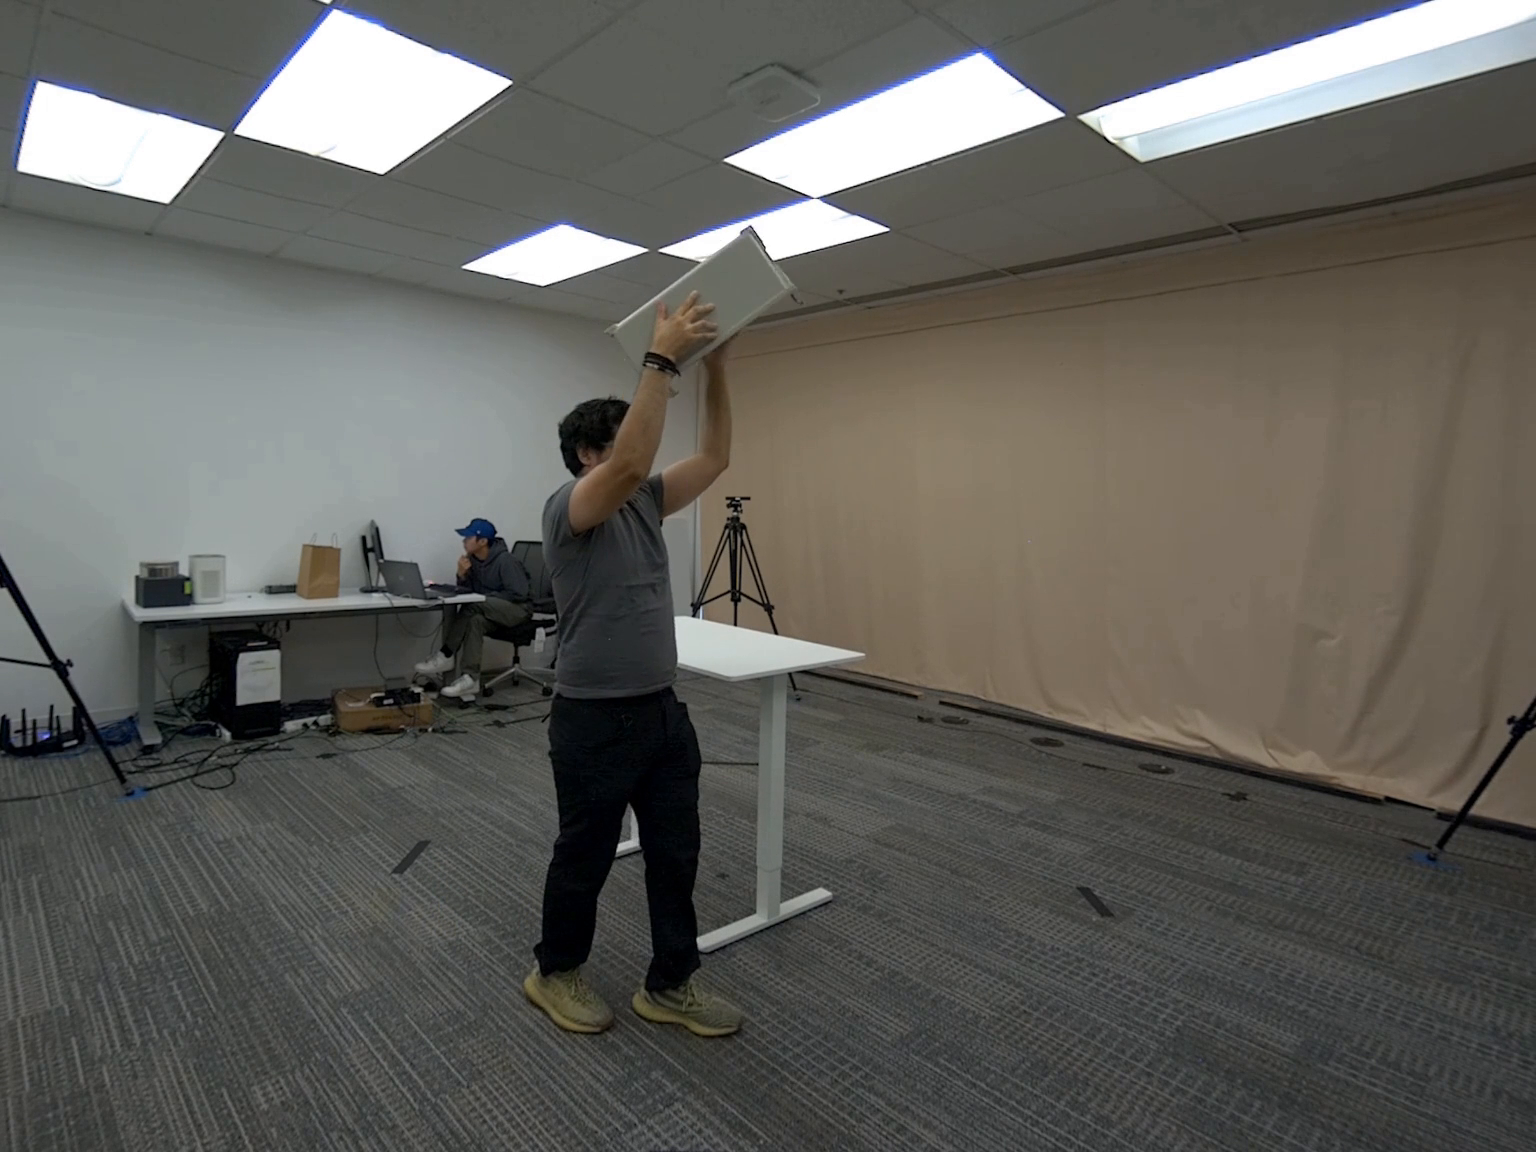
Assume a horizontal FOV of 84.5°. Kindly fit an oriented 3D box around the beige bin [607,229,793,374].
[{"bbox_3d":[-0.147,-0.637,2.062,0.423,0.188,0.378,-32,5,11],"label":"beige bin"}]
